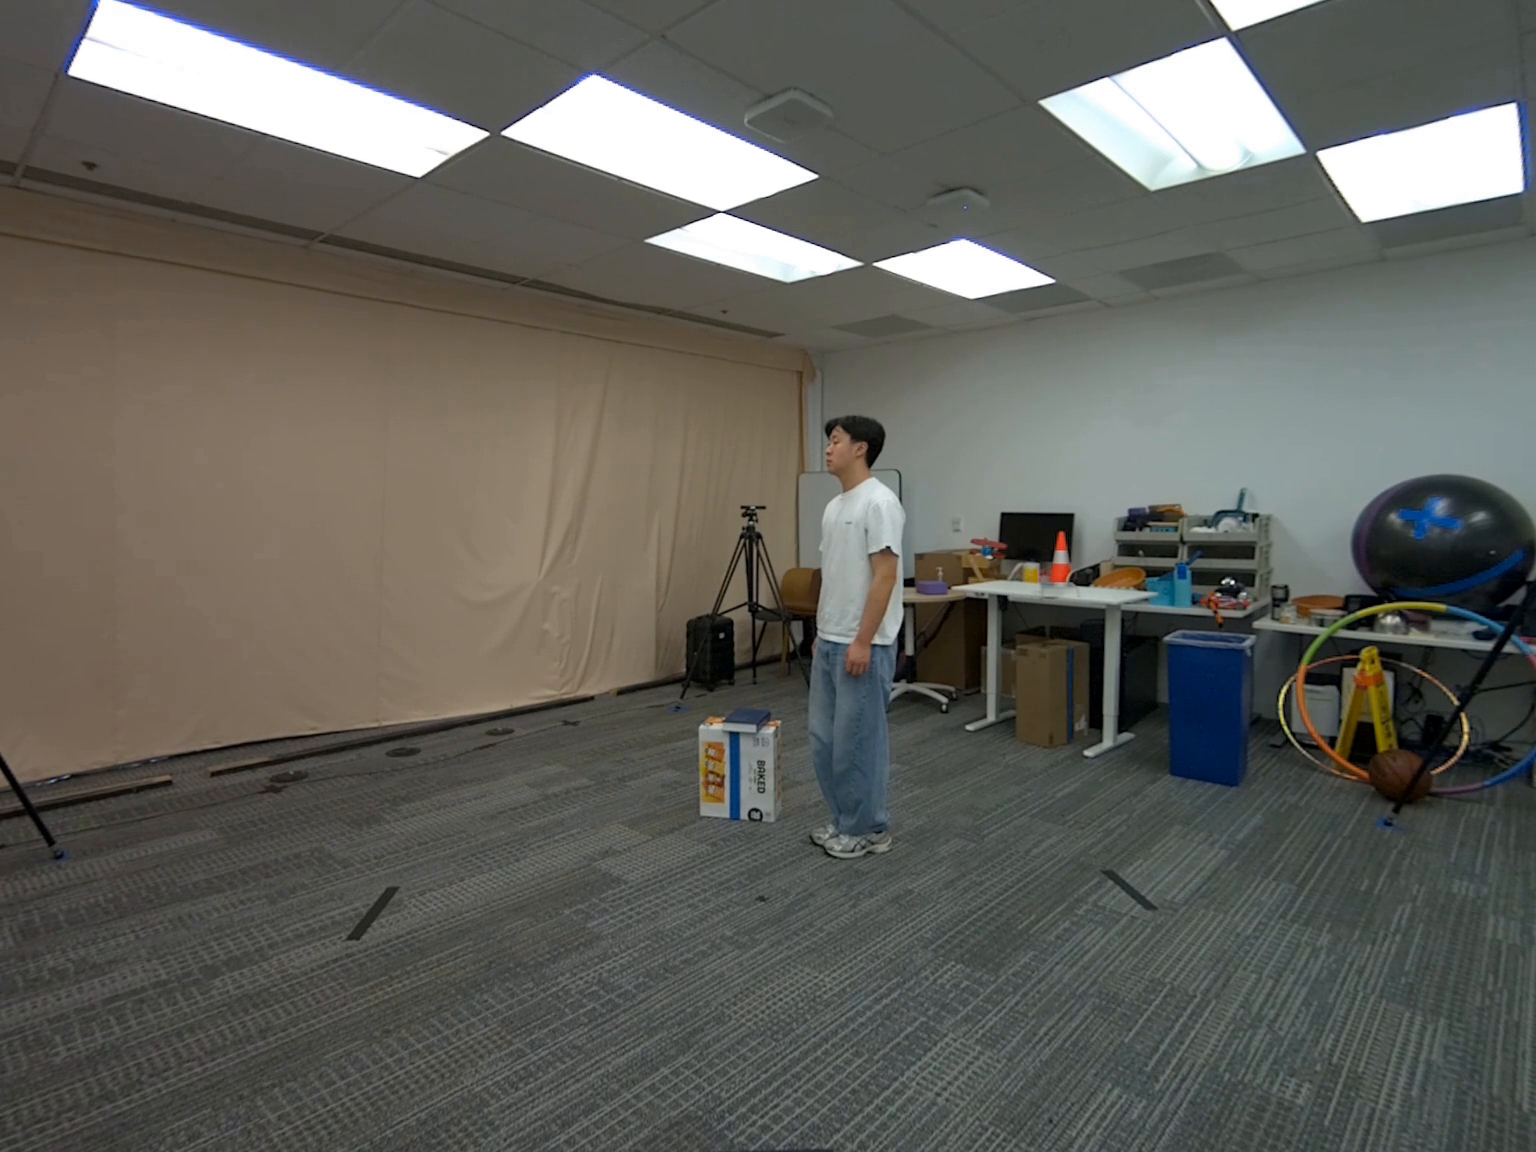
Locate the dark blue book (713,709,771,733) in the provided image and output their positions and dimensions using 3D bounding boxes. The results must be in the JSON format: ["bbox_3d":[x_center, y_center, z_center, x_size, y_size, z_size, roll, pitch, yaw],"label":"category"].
[{"bbox_3d":[-0.095,0.651,3.804,0.166,0.045,0.241,0,5,15],"label":"dark blue book"}]
